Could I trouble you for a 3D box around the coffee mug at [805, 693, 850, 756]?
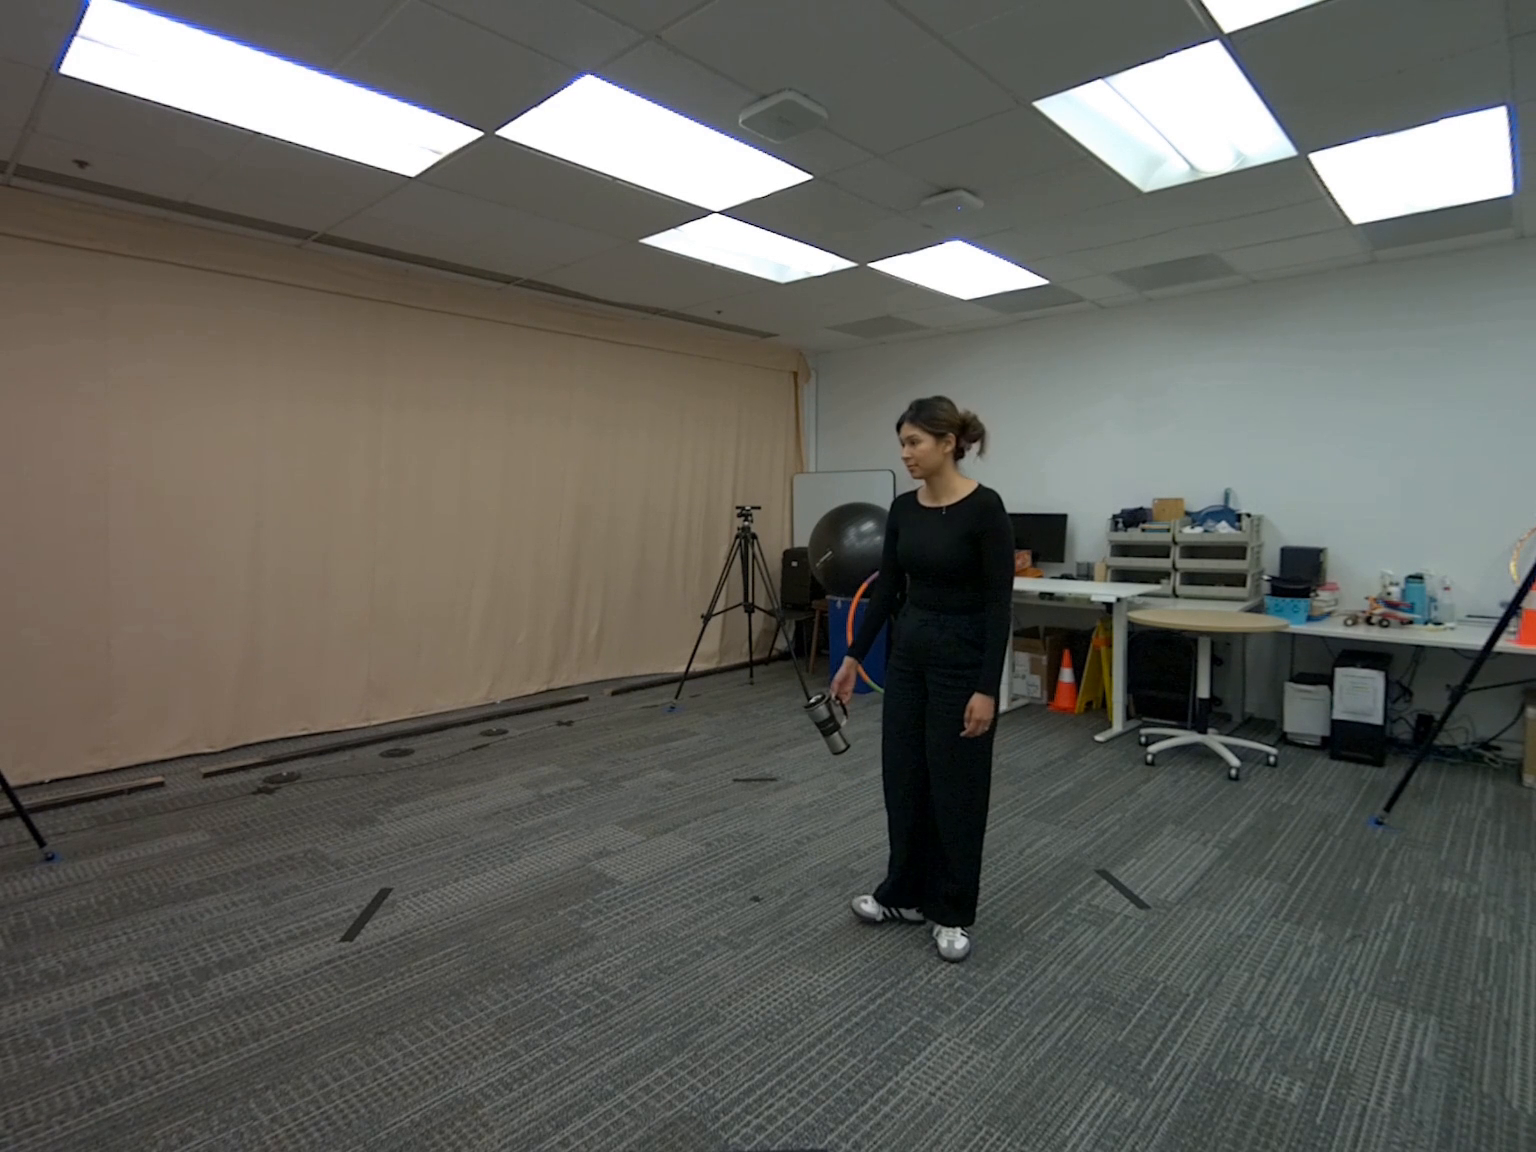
[{"bbox_3d":[0.230,0.503,2.802,0.124,0.203,0.086,-29,-3,41],"label":"coffee mug"}]
